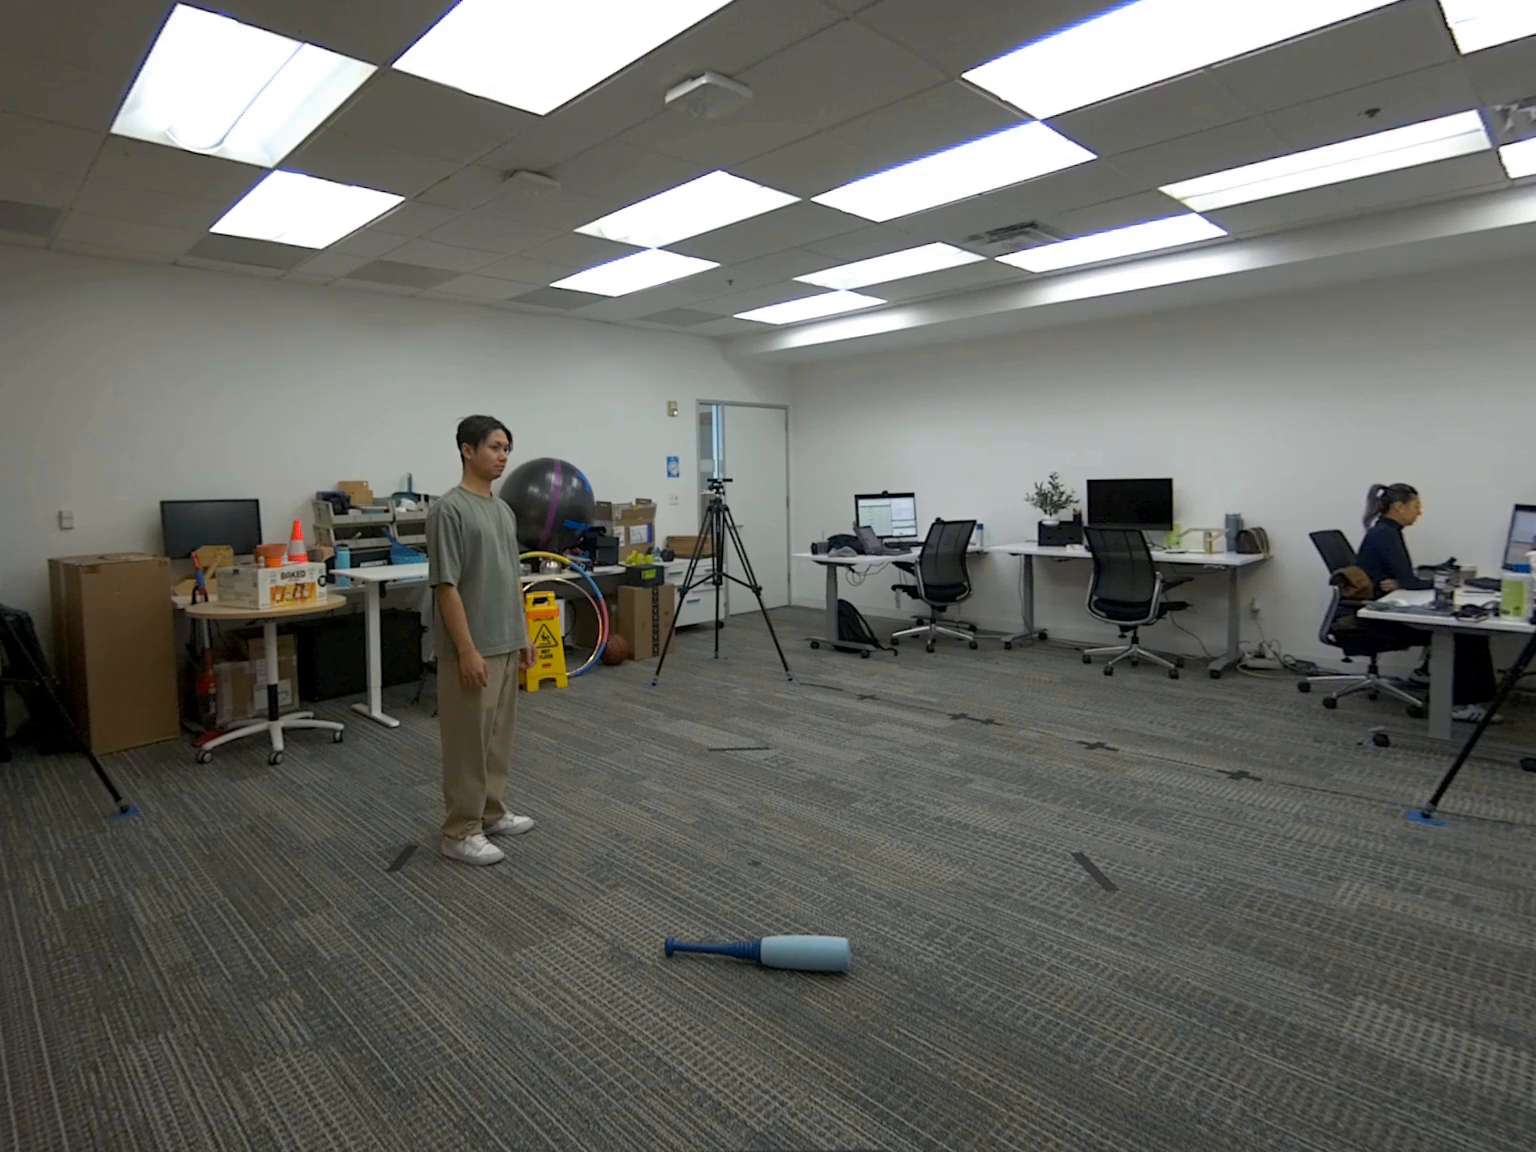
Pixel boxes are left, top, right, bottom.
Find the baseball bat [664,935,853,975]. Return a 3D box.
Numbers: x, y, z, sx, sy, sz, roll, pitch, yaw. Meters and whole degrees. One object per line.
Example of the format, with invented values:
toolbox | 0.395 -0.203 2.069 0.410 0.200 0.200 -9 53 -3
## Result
baseball bat | -0.029 1.082 2.463 0.549 0.089 0.088 -3 4 12
